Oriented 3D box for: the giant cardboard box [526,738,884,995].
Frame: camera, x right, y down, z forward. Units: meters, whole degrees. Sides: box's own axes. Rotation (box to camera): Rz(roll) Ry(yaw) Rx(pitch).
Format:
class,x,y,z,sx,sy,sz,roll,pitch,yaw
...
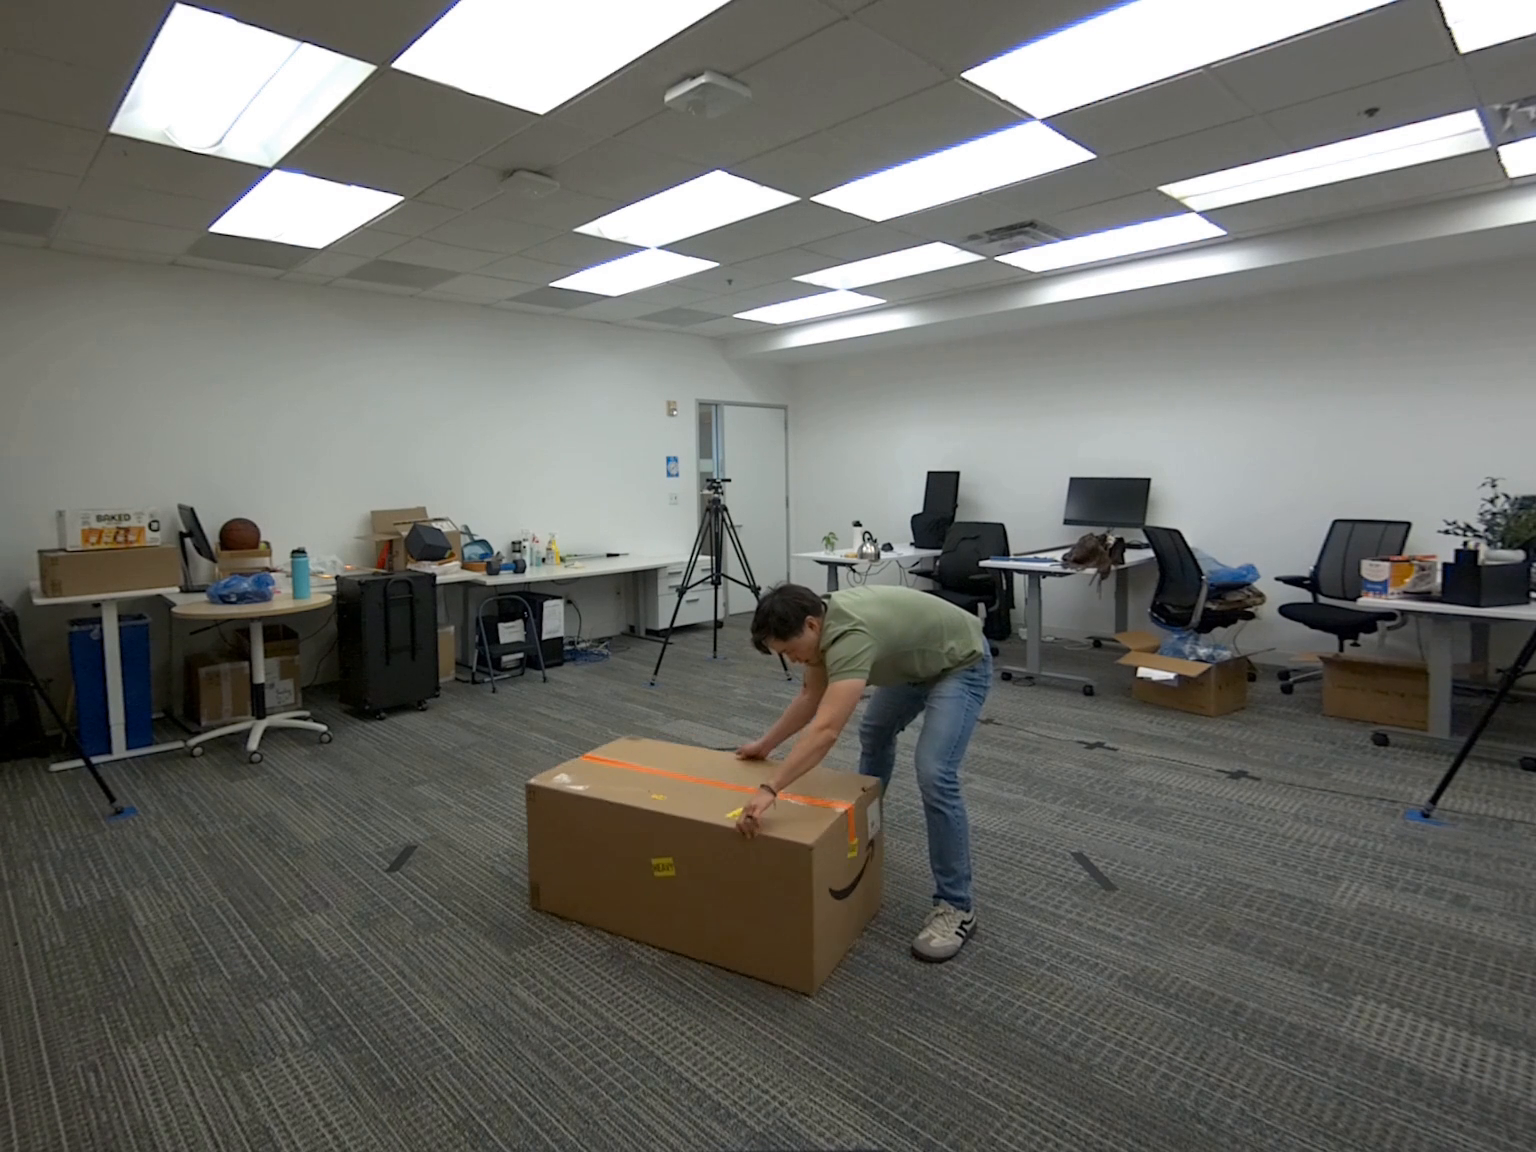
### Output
class,x,y,z,sx,sy,sz,roll,pitch,yaw
giant cardboard box,-0.196,0.870,2.787,1.053,0.424,0.565,3,6,29
